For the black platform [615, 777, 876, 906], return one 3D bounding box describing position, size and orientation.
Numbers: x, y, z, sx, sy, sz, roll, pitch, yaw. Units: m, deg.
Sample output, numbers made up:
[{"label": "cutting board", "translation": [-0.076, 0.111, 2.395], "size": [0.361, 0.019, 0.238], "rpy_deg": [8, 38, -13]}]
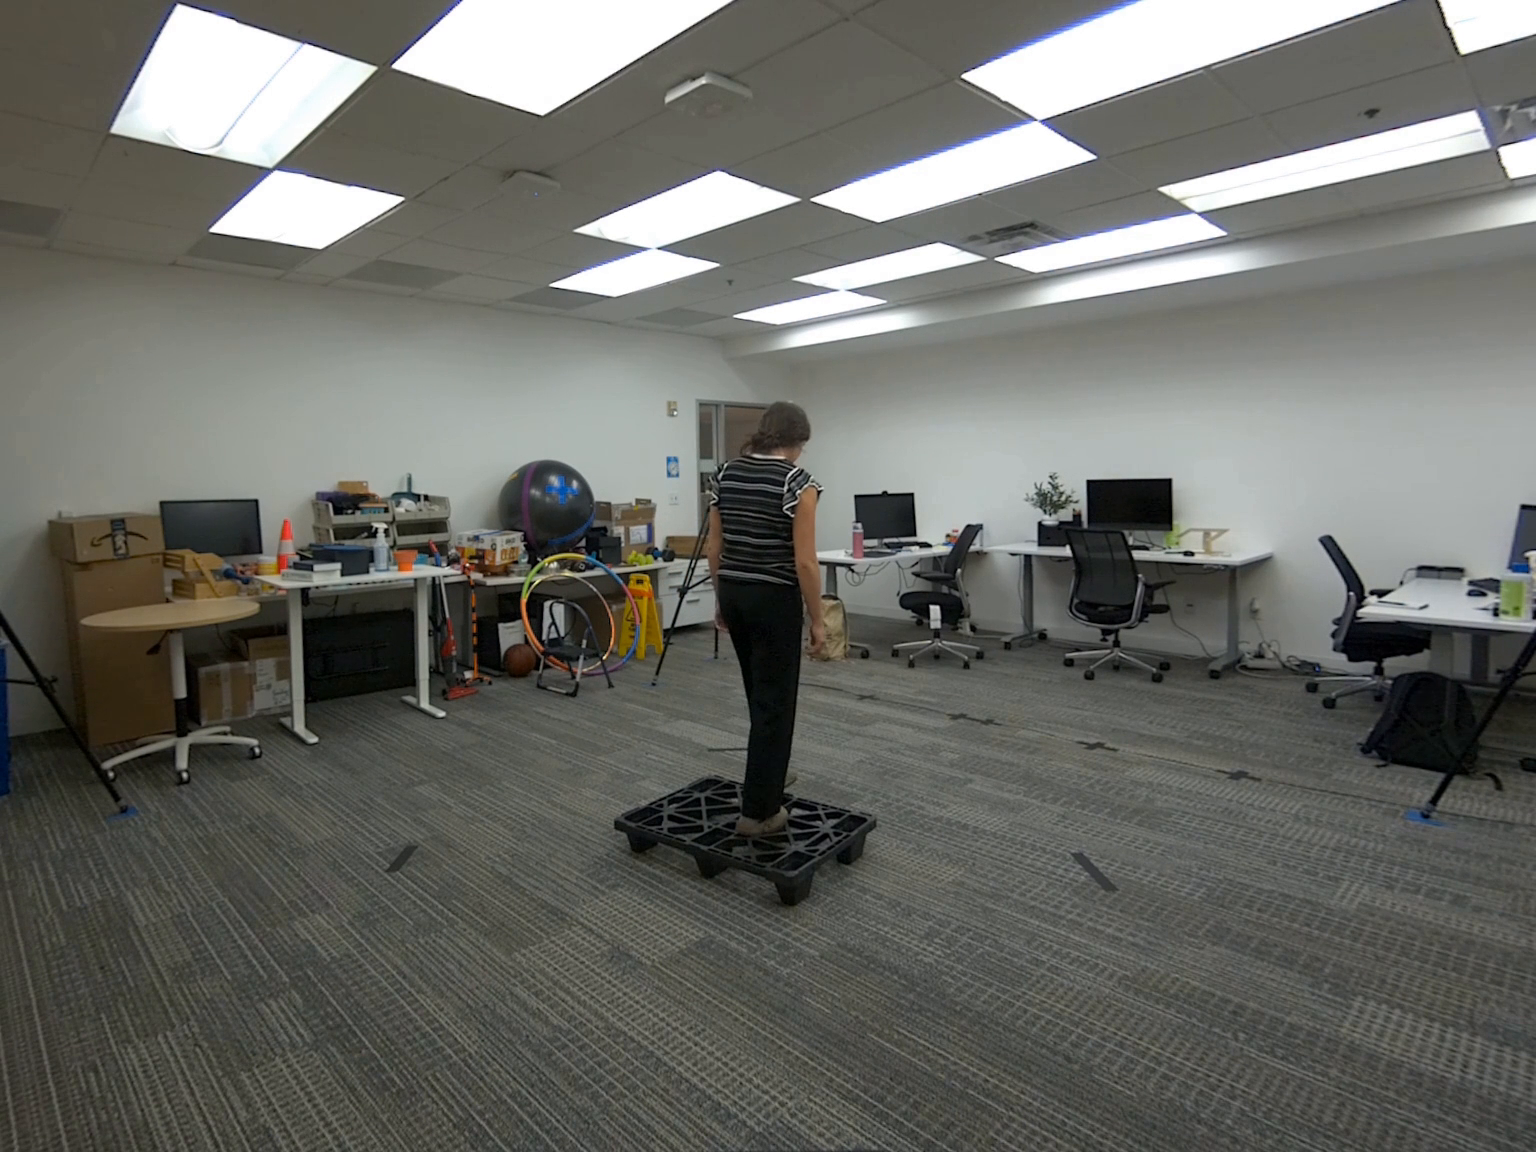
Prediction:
[{"label": "black platform", "translation": [-0.085, 0.967, 3.192], "size": [0.829, 0.143, 0.590], "rpy_deg": [4, 7, 36]}]
